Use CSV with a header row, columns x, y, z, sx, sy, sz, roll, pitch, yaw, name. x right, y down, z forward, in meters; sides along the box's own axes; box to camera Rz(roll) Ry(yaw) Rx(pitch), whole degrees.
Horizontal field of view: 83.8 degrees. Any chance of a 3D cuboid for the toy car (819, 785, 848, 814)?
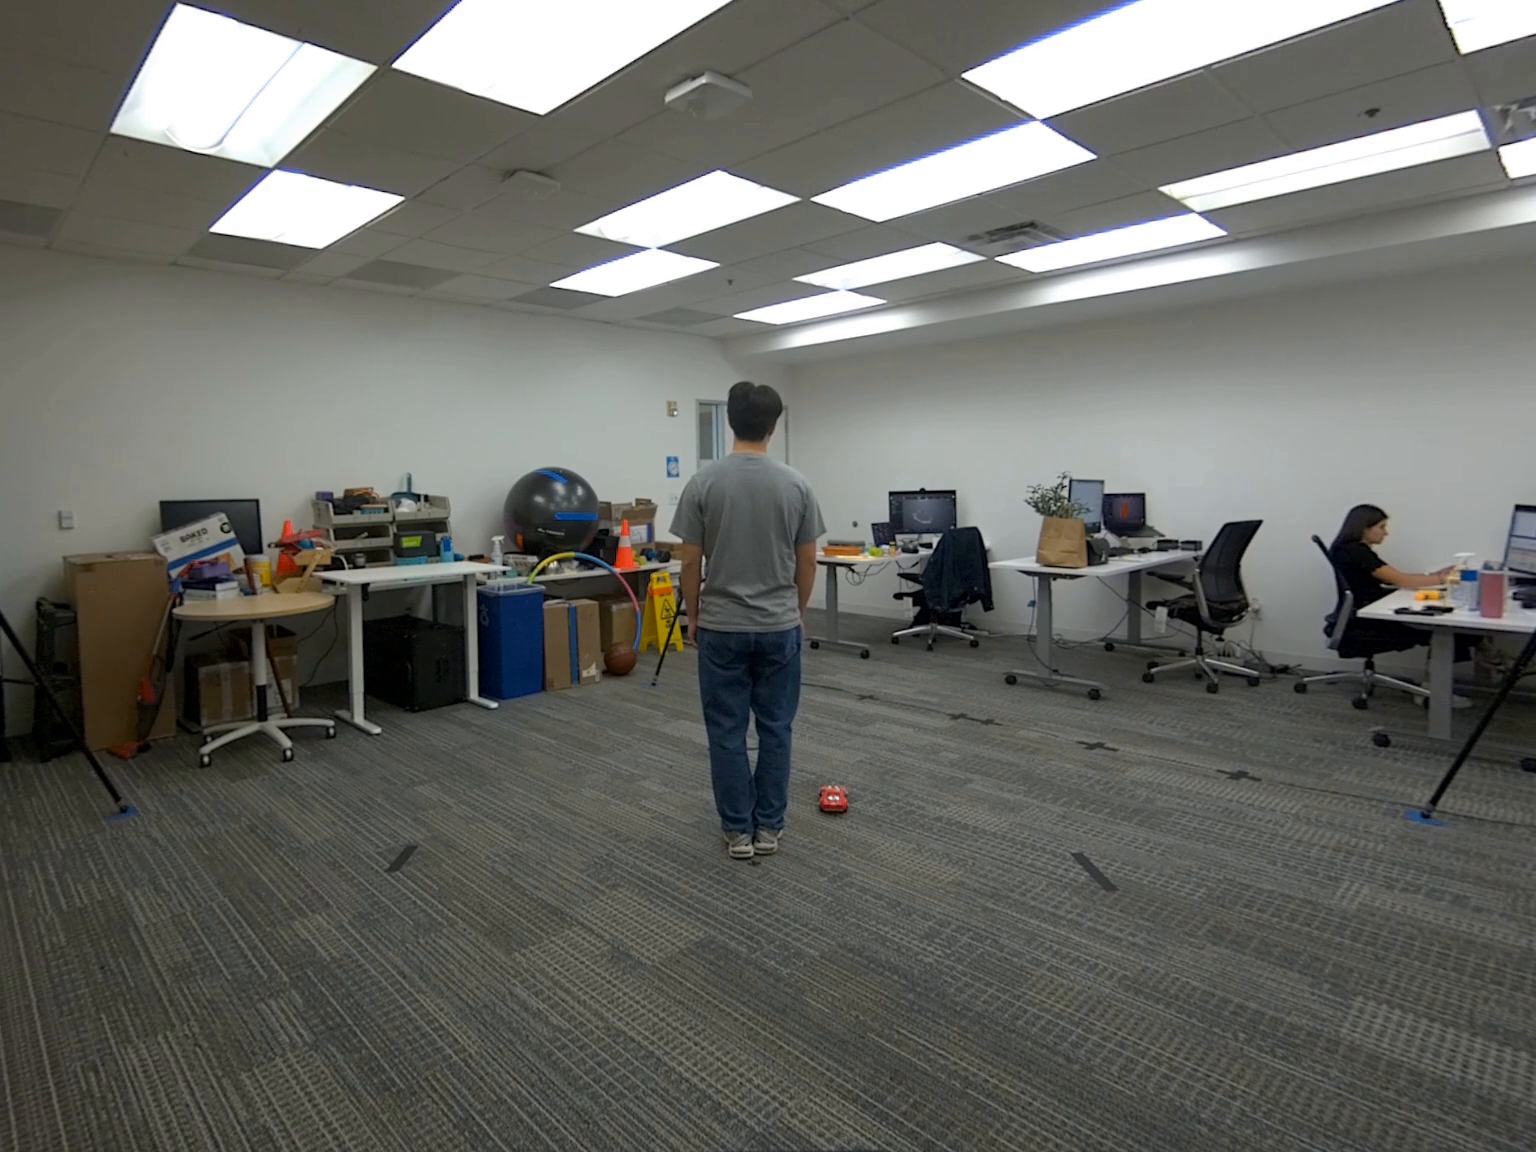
x,y,z,sx,sy,sz,roll,pitch,yaw,name
0.282,0.950,3.636,0.131,0.084,0.252,0,-5,4,toy car
